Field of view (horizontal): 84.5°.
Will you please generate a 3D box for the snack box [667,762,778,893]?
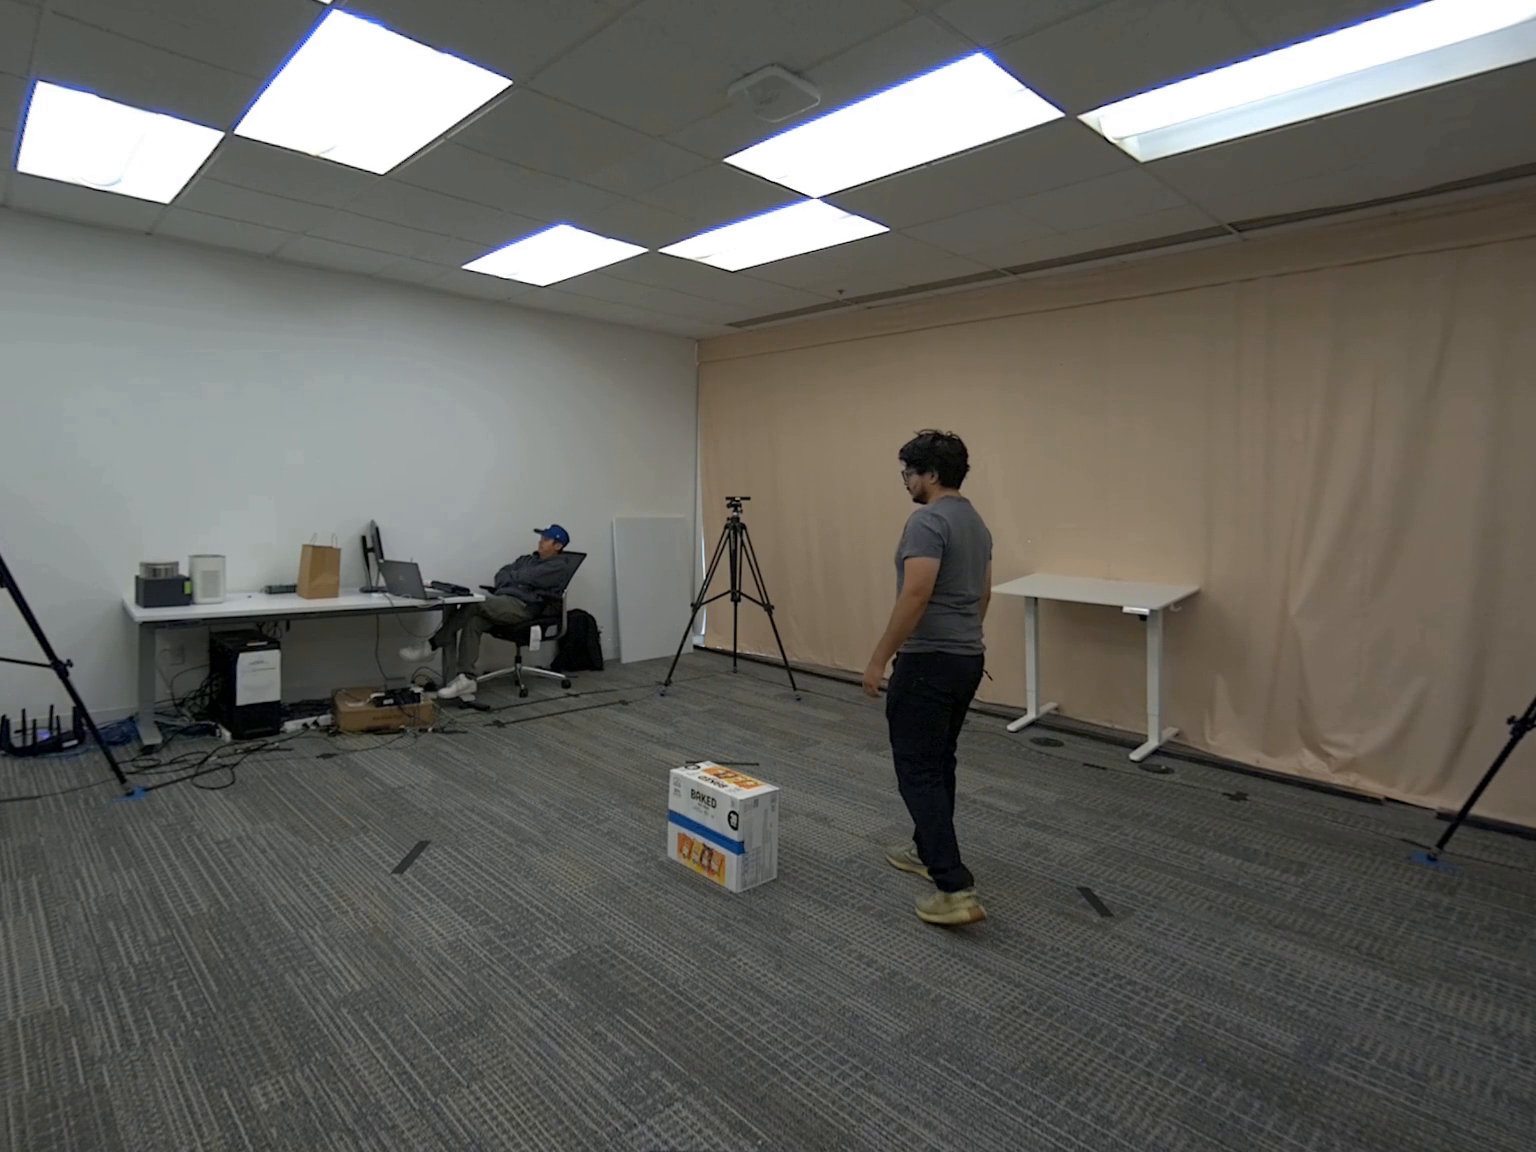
[{"bbox_3d":[-0.176,0.929,3.170,0.201,0.339,0.415,-1,5,-43],"label":"snack box"}]
